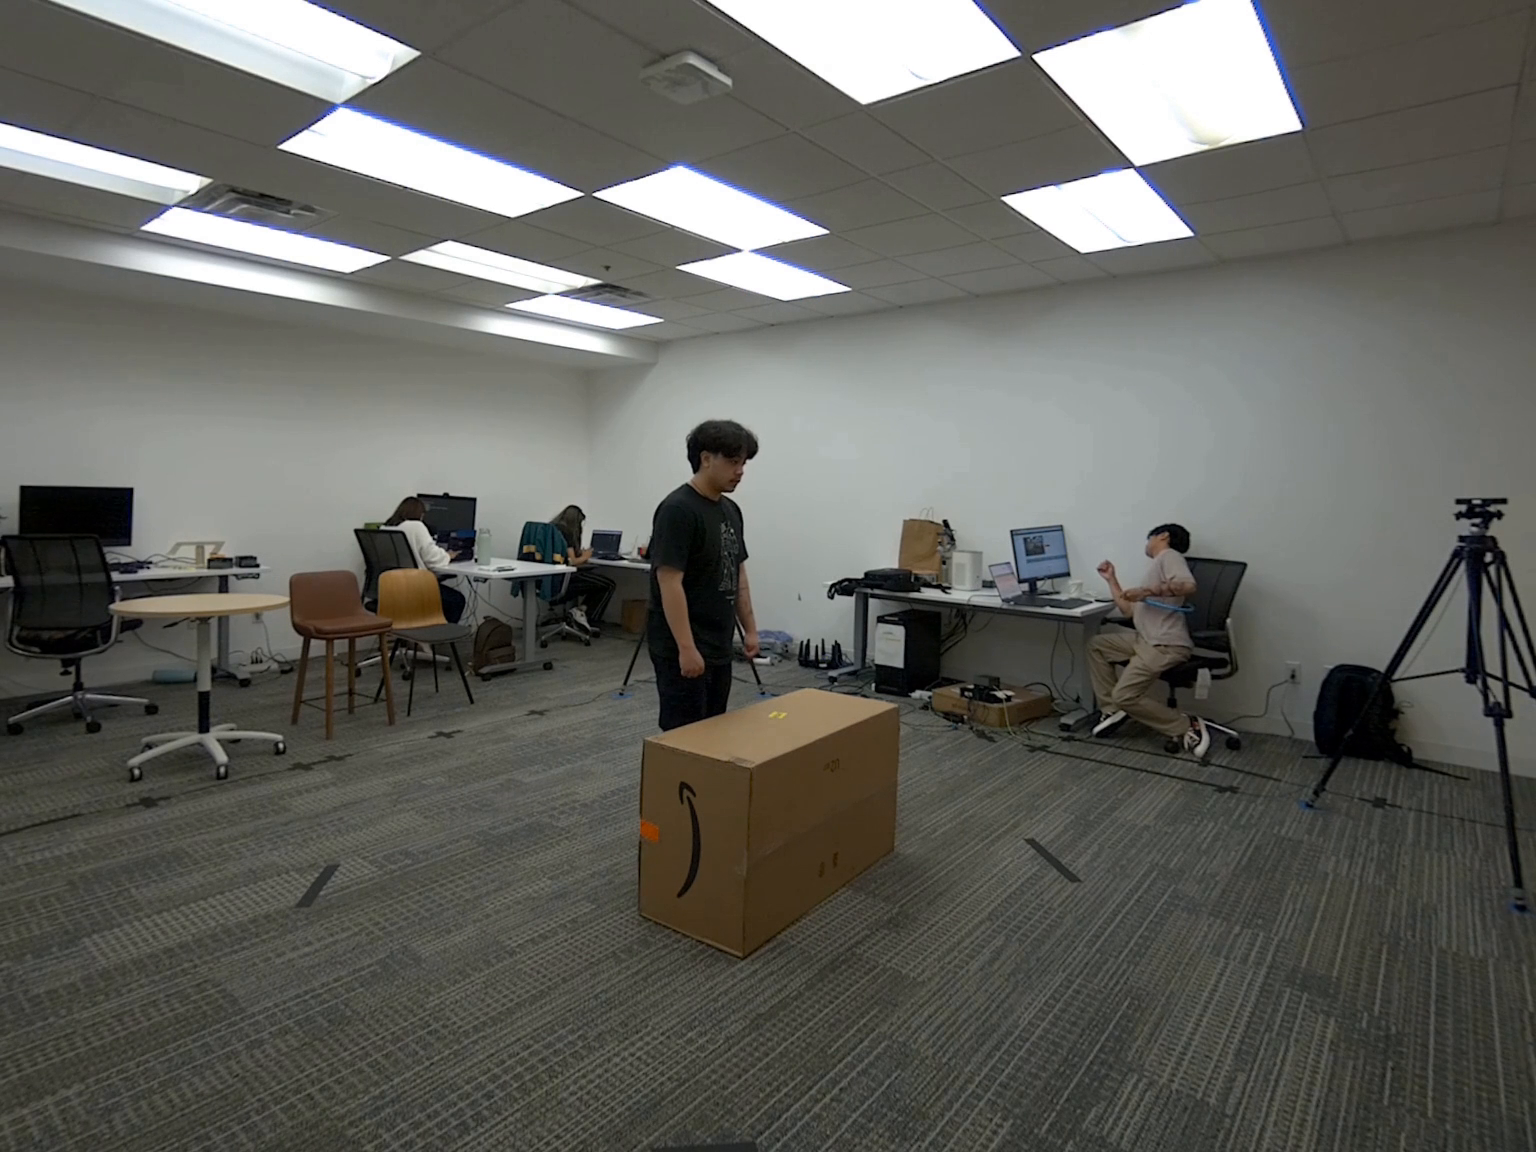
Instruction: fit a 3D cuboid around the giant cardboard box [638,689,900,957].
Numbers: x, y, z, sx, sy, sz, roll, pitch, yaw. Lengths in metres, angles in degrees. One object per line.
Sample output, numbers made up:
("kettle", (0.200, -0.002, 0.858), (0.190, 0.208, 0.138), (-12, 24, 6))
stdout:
("giant cardboard box", (0.041, 0.798, 3.022), (0.461, 0.582, 0.998), (3, 4, 35))
